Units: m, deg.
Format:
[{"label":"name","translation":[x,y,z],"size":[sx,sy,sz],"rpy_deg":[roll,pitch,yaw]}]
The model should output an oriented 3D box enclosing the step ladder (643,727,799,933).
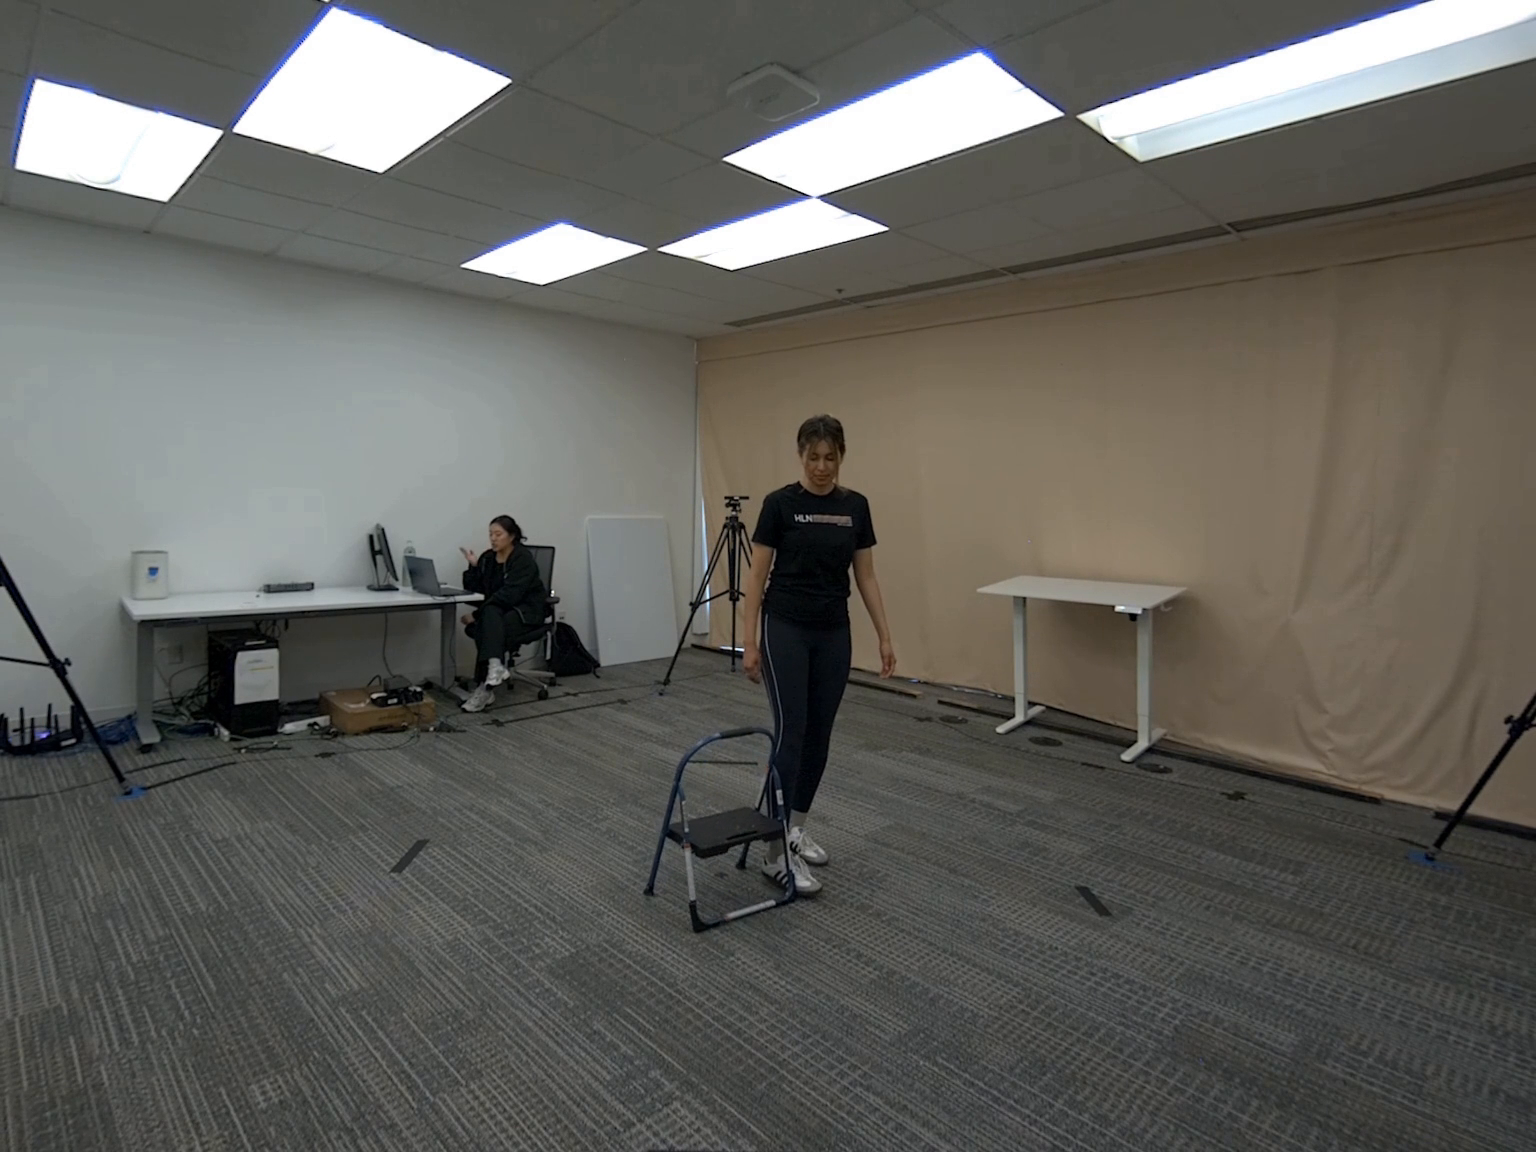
[{"label":"step ladder","translation":[-0.168,0.815,2.910],"size":[0.421,0.604,0.358],"rpy_deg":[-2,5,-36]}]
